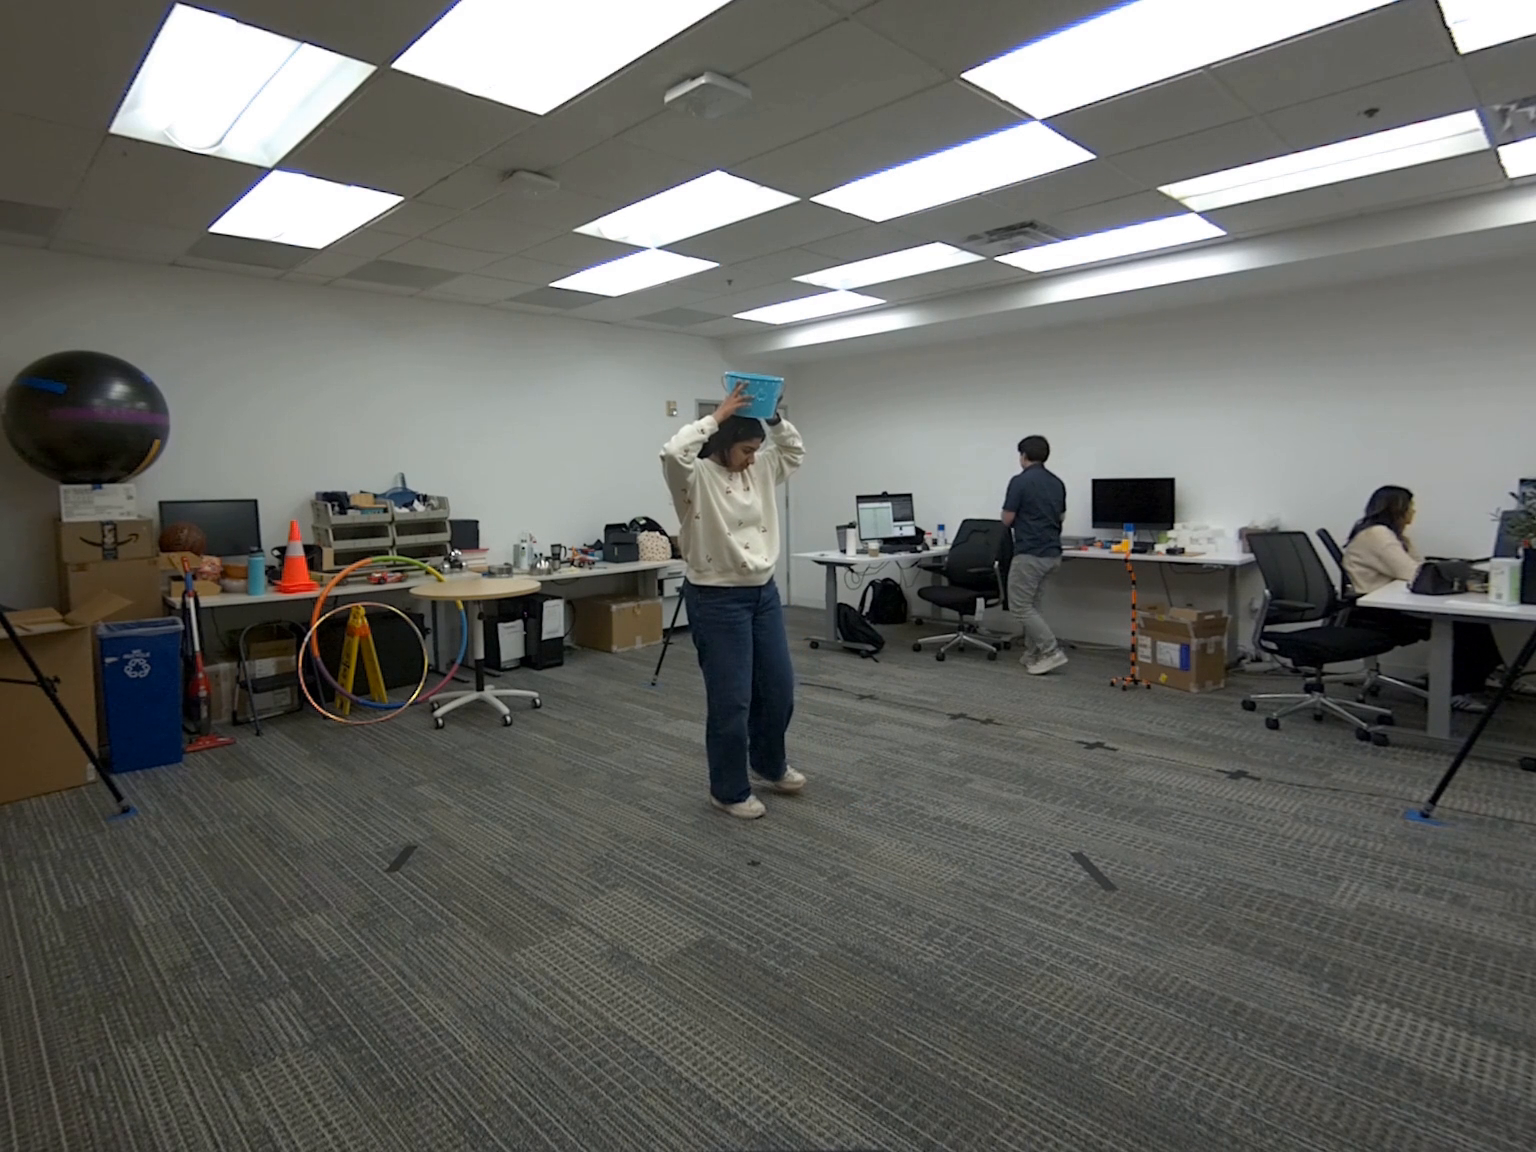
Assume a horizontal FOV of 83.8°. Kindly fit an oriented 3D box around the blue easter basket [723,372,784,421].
[{"bbox_3d":[-0.054,-0.706,3.346,0.243,0.154,0.247,6,17,-3],"label":"blue easter basket"}]
